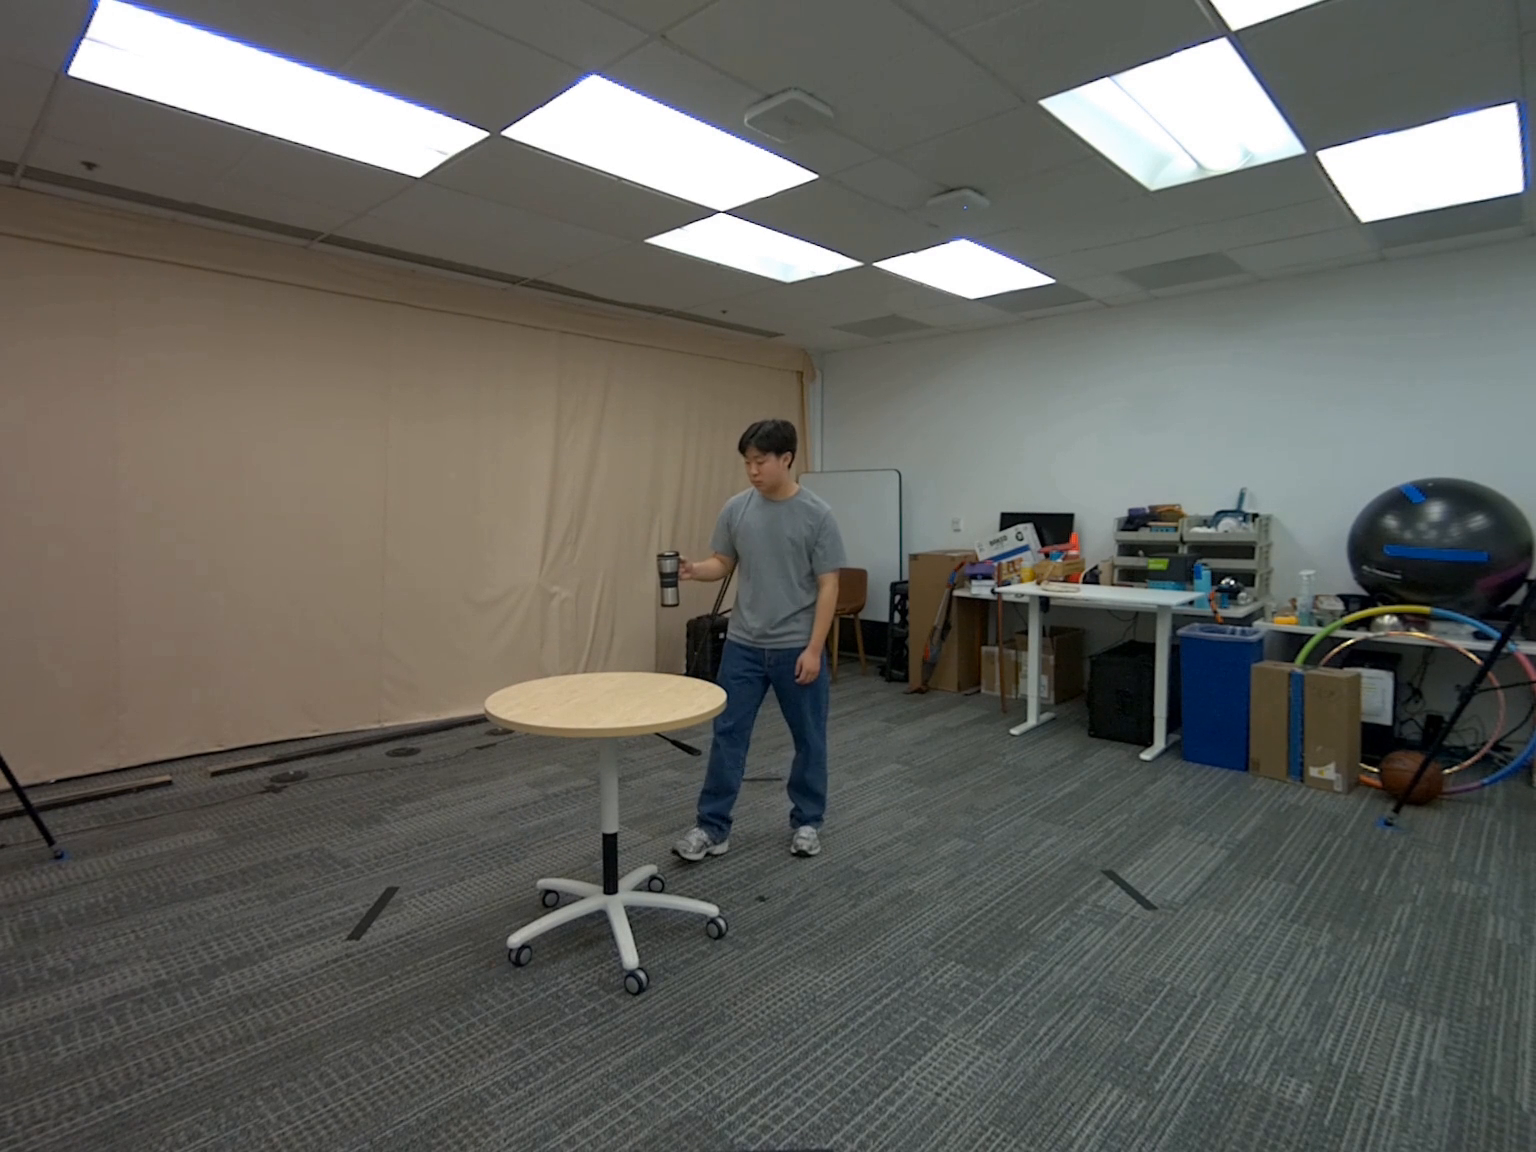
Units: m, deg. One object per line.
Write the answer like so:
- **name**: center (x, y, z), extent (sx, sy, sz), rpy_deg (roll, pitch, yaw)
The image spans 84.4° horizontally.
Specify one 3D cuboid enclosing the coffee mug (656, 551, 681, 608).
- **coffee mug**: center (-0.362, 0.010, 3.186), extent (0.119, 0.202, 0.090), rpy_deg (-7, 4, -21)
